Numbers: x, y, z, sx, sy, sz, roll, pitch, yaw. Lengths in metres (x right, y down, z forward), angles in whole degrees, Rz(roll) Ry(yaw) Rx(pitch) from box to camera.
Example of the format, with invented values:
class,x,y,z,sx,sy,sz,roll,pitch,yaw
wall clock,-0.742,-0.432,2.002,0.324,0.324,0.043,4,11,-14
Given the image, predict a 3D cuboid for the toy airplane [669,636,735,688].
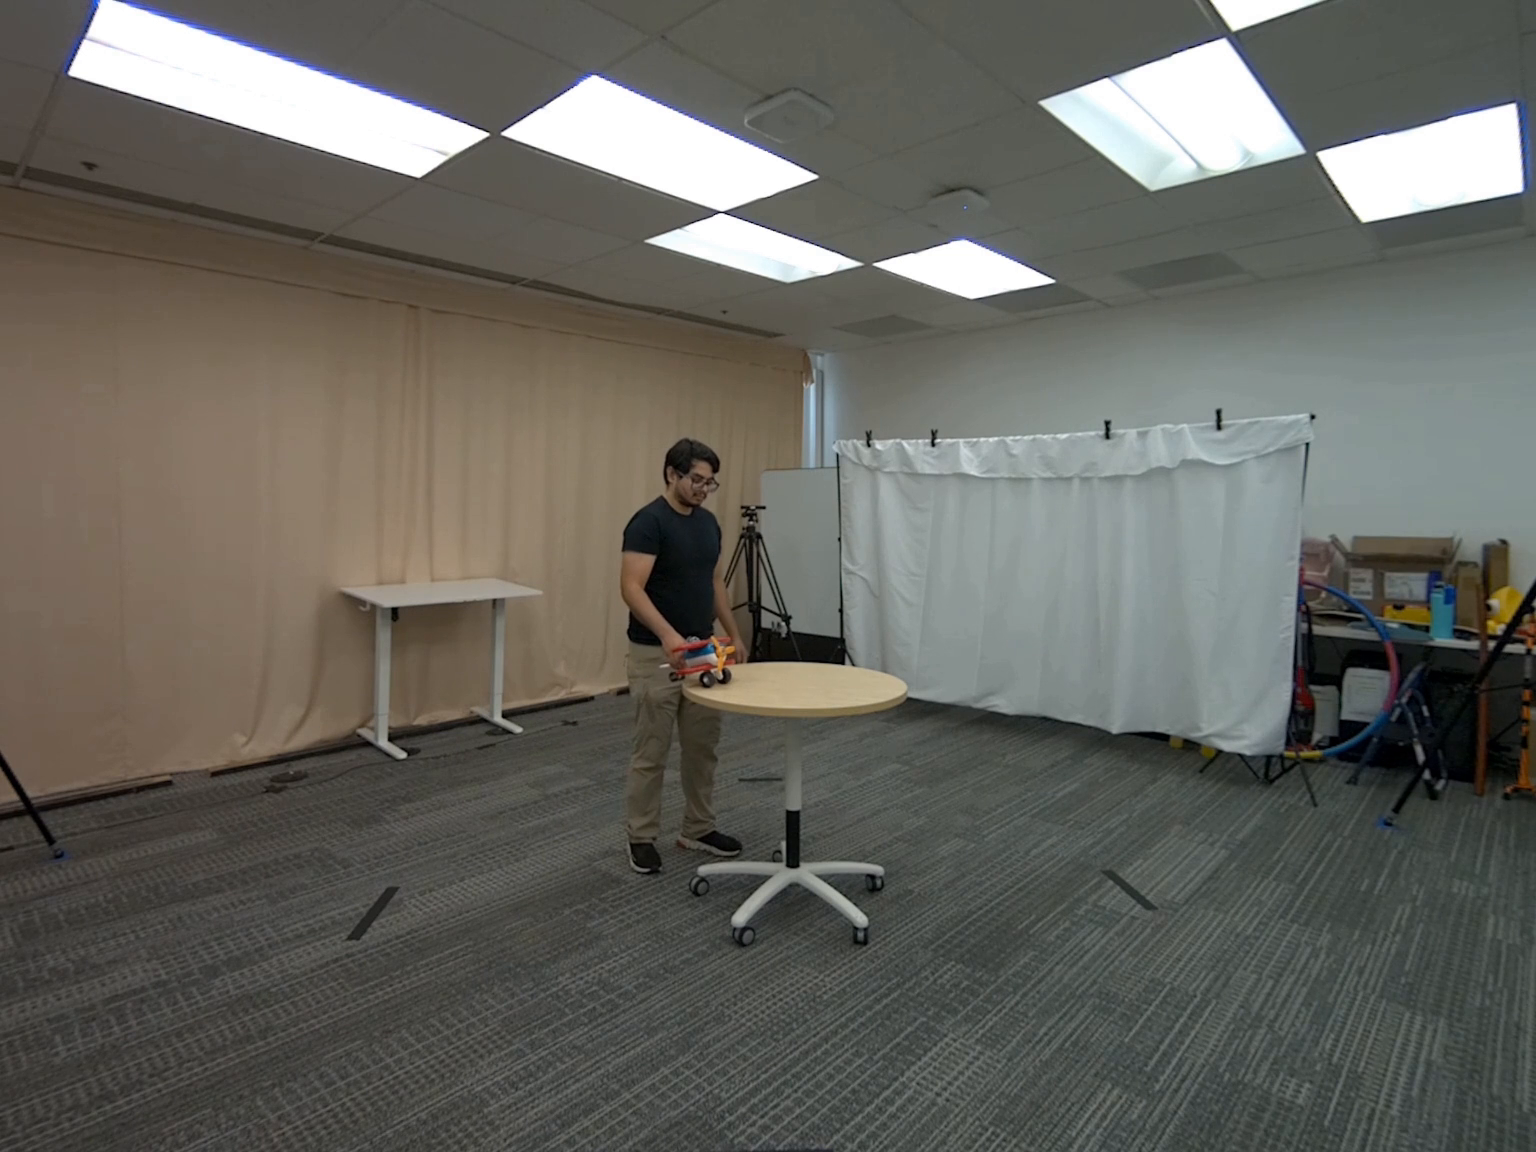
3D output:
class,x,y,z,sx,sy,sz,roll,pitch,yaw
toy airplane,-0.247,0.293,2.881,0.262,0.156,0.248,1,3,10
